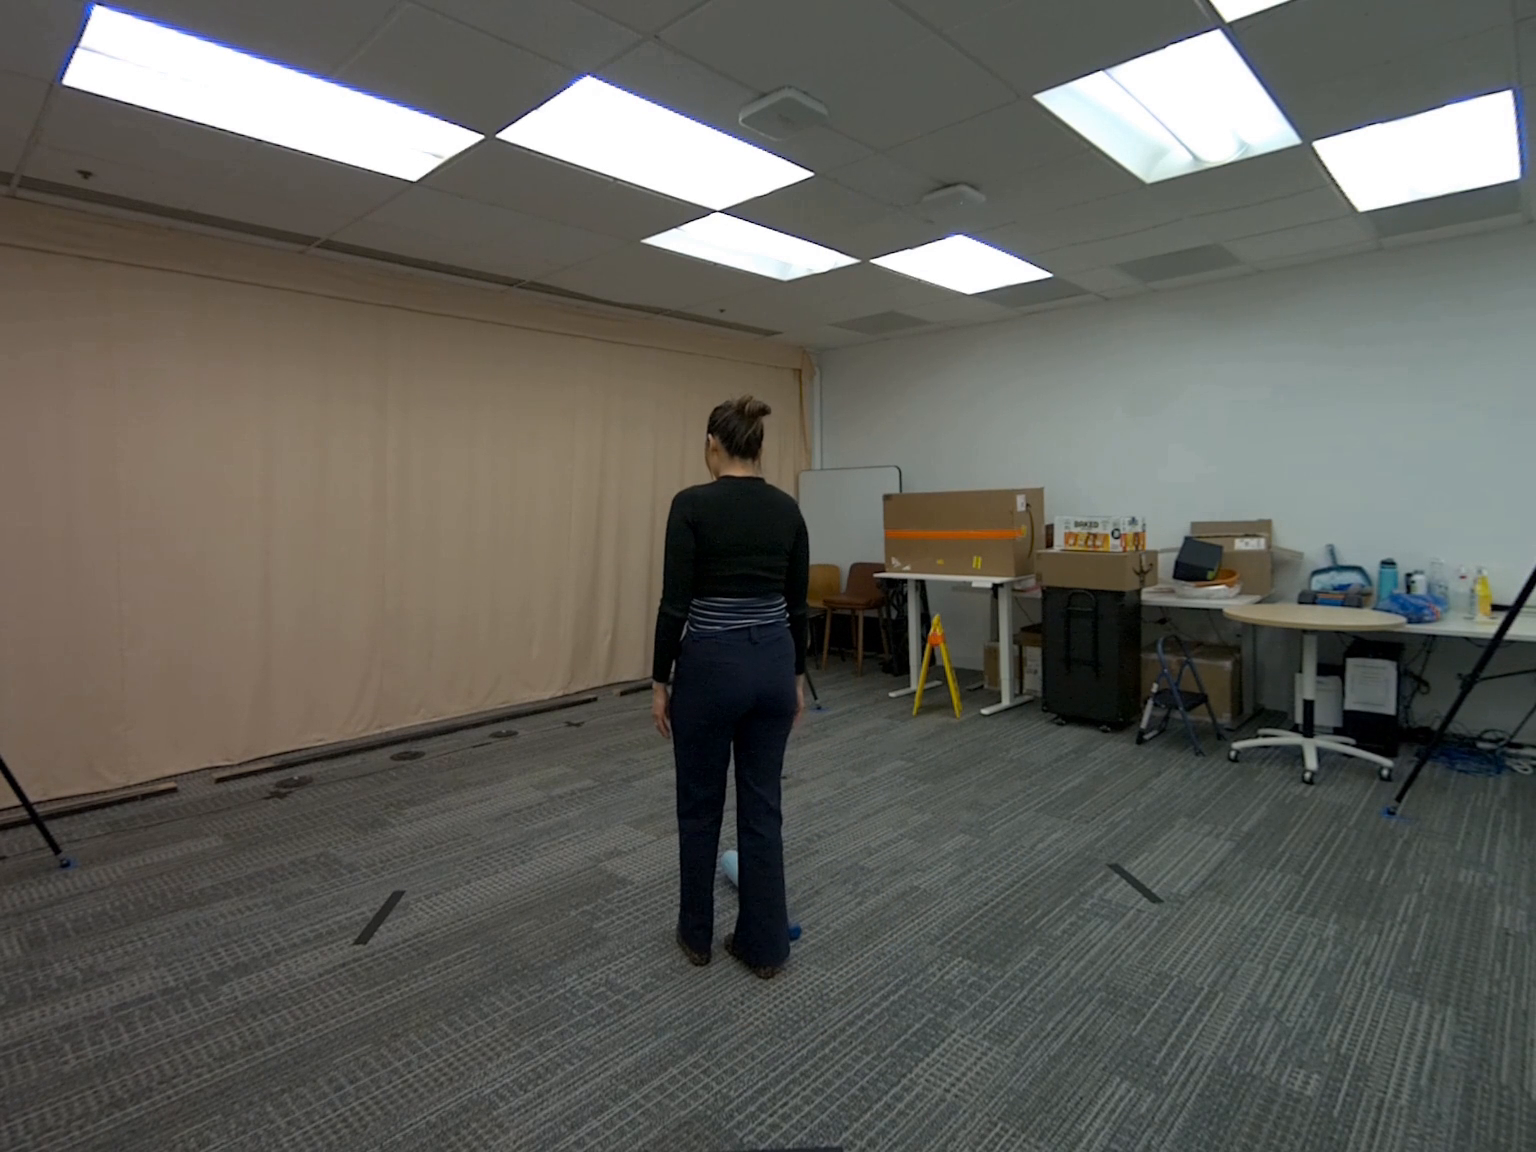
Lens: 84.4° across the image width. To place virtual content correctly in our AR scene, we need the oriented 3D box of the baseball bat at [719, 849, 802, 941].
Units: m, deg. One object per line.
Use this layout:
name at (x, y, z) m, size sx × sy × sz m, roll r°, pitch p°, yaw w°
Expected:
baseball bat at (-0.026, 1.110, 2.932) m, size 0.087 × 0.088 × 0.558 m, roll -3°, pitch 9°, yaw -24°
